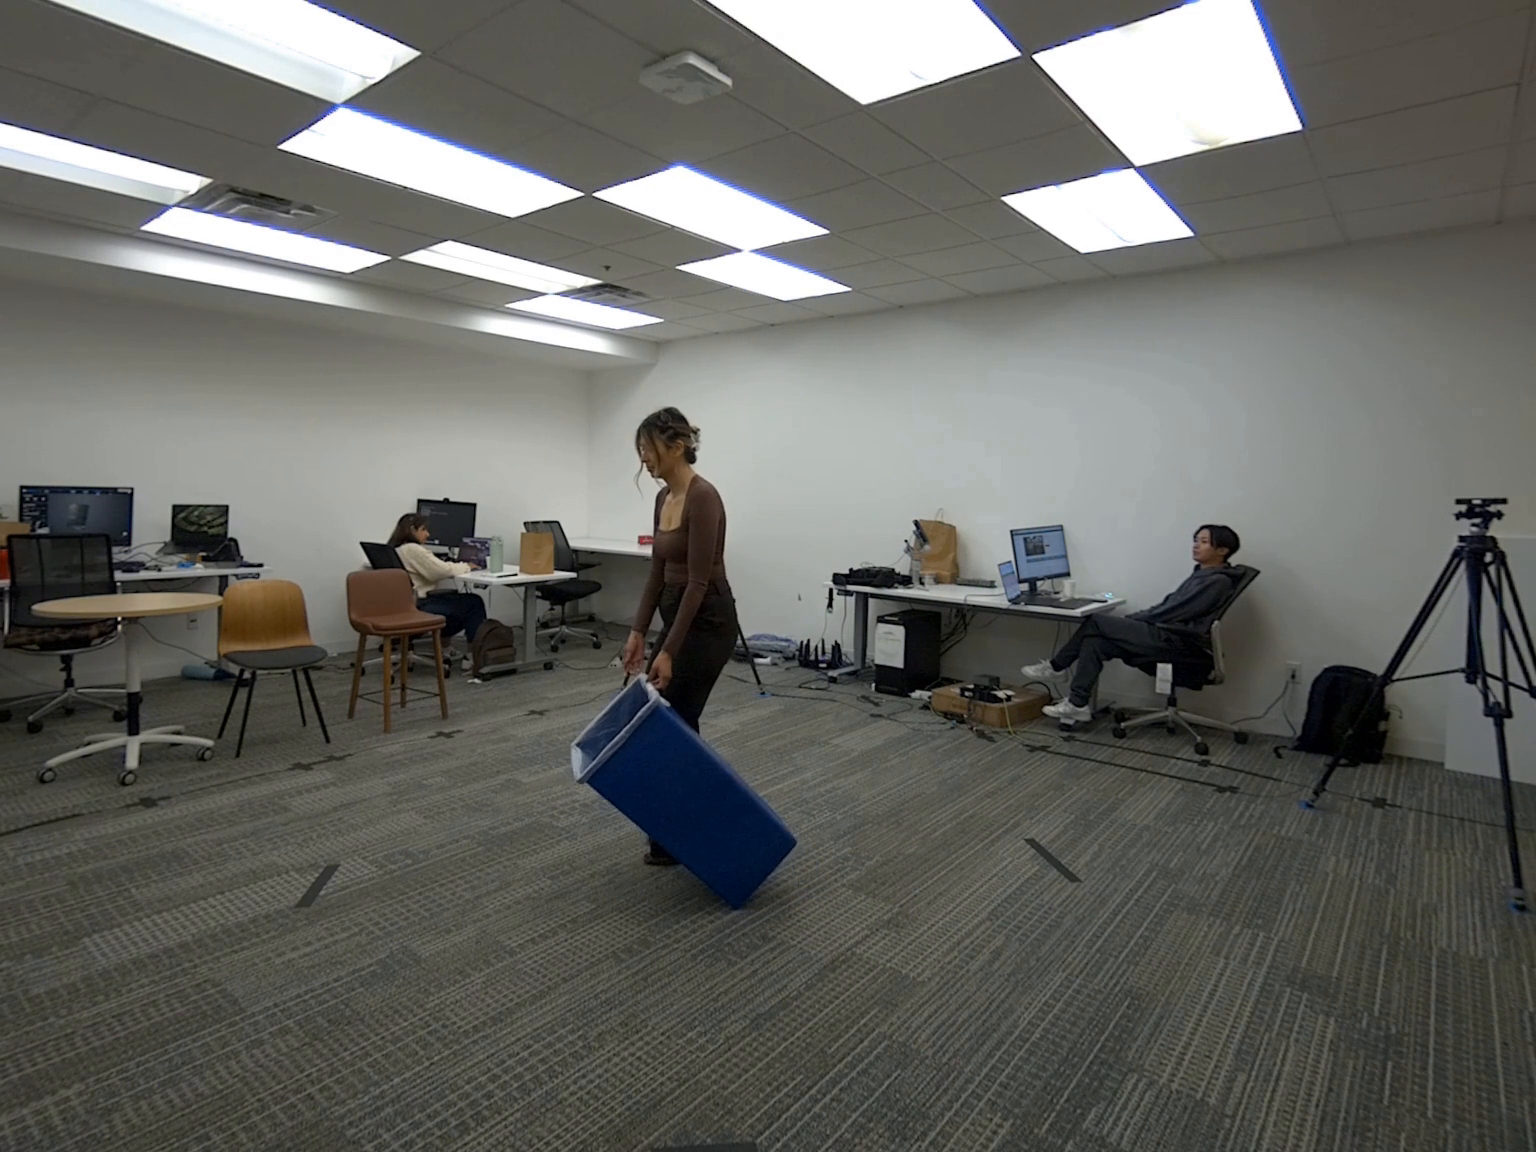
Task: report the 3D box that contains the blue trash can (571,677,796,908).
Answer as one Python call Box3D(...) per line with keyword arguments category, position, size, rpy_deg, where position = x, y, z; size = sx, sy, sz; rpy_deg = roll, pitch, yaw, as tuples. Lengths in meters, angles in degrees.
Box3D(category="blue trash can", position=(-0.301, 0.735, 2.904), size=(0.378, 0.701, 0.381), rpy_deg=(-45, 13, -8))
